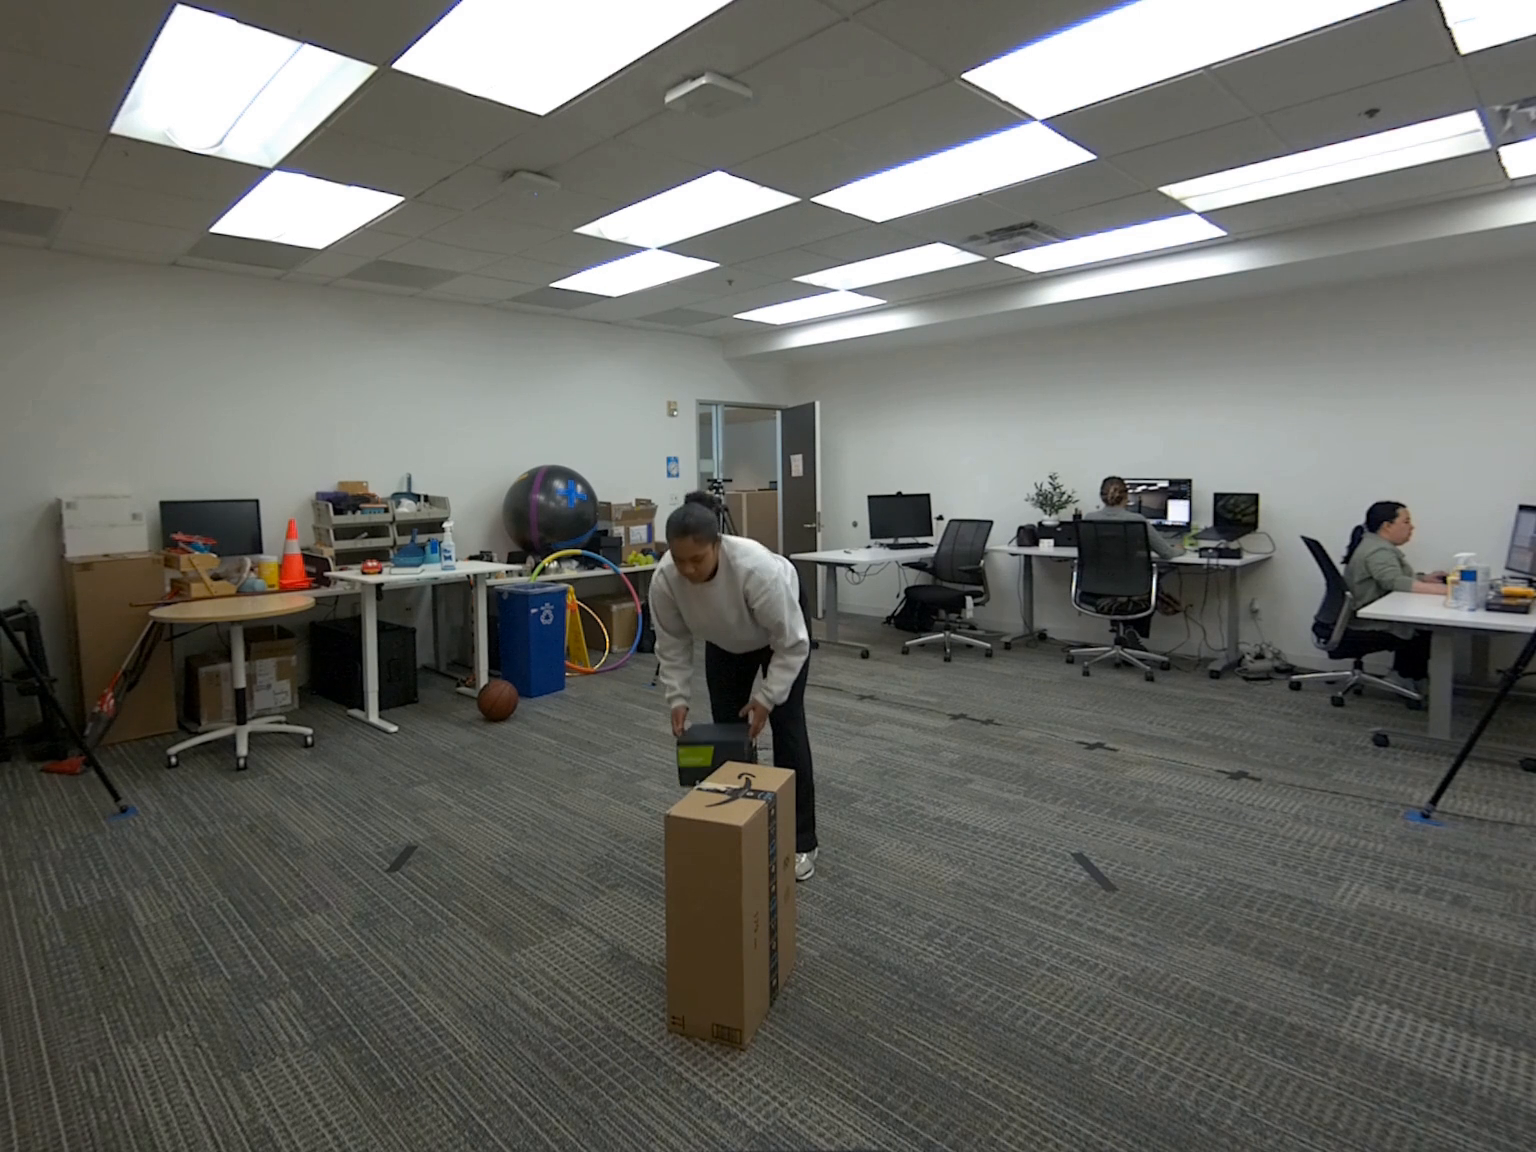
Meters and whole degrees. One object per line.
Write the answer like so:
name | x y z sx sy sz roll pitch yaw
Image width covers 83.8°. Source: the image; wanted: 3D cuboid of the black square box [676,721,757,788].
black square box | -0.161 0.616 2.896 0.230 0.155 0.215 -3 3 9
